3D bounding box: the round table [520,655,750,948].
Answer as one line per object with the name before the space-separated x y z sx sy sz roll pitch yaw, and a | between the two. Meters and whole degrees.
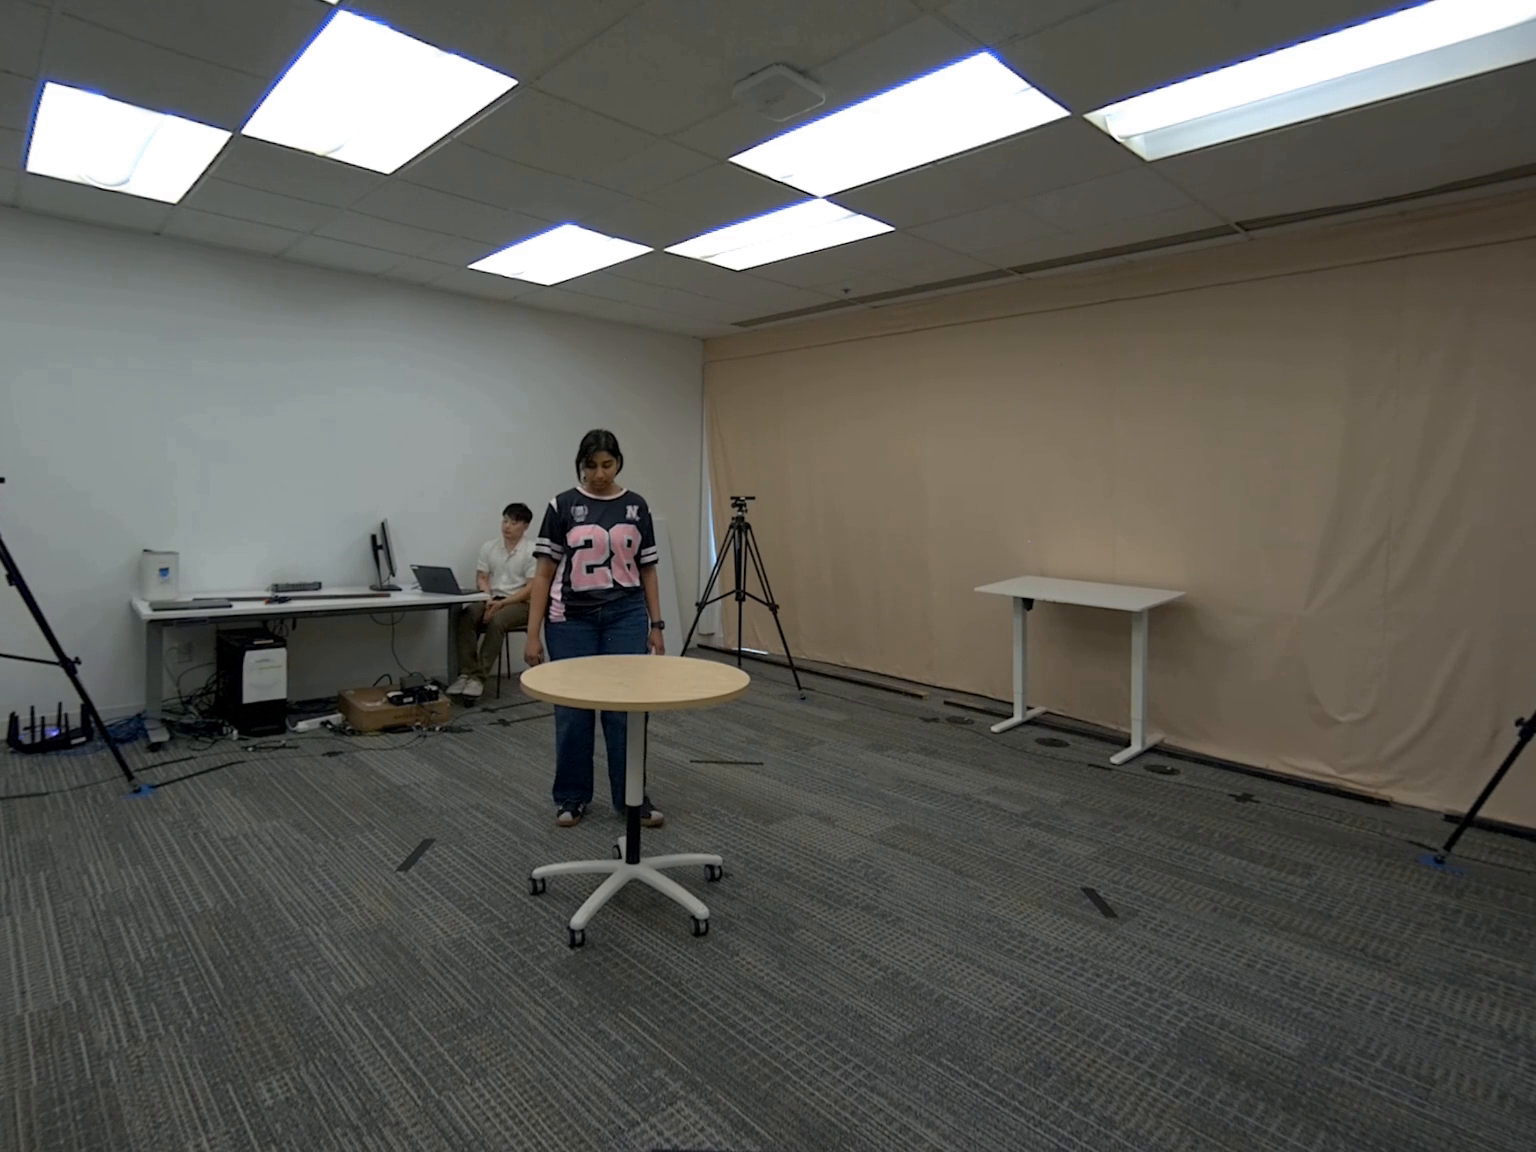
round table | -0.465 0.732 2.864 0.763 0.792 0.766 2 4 -1
